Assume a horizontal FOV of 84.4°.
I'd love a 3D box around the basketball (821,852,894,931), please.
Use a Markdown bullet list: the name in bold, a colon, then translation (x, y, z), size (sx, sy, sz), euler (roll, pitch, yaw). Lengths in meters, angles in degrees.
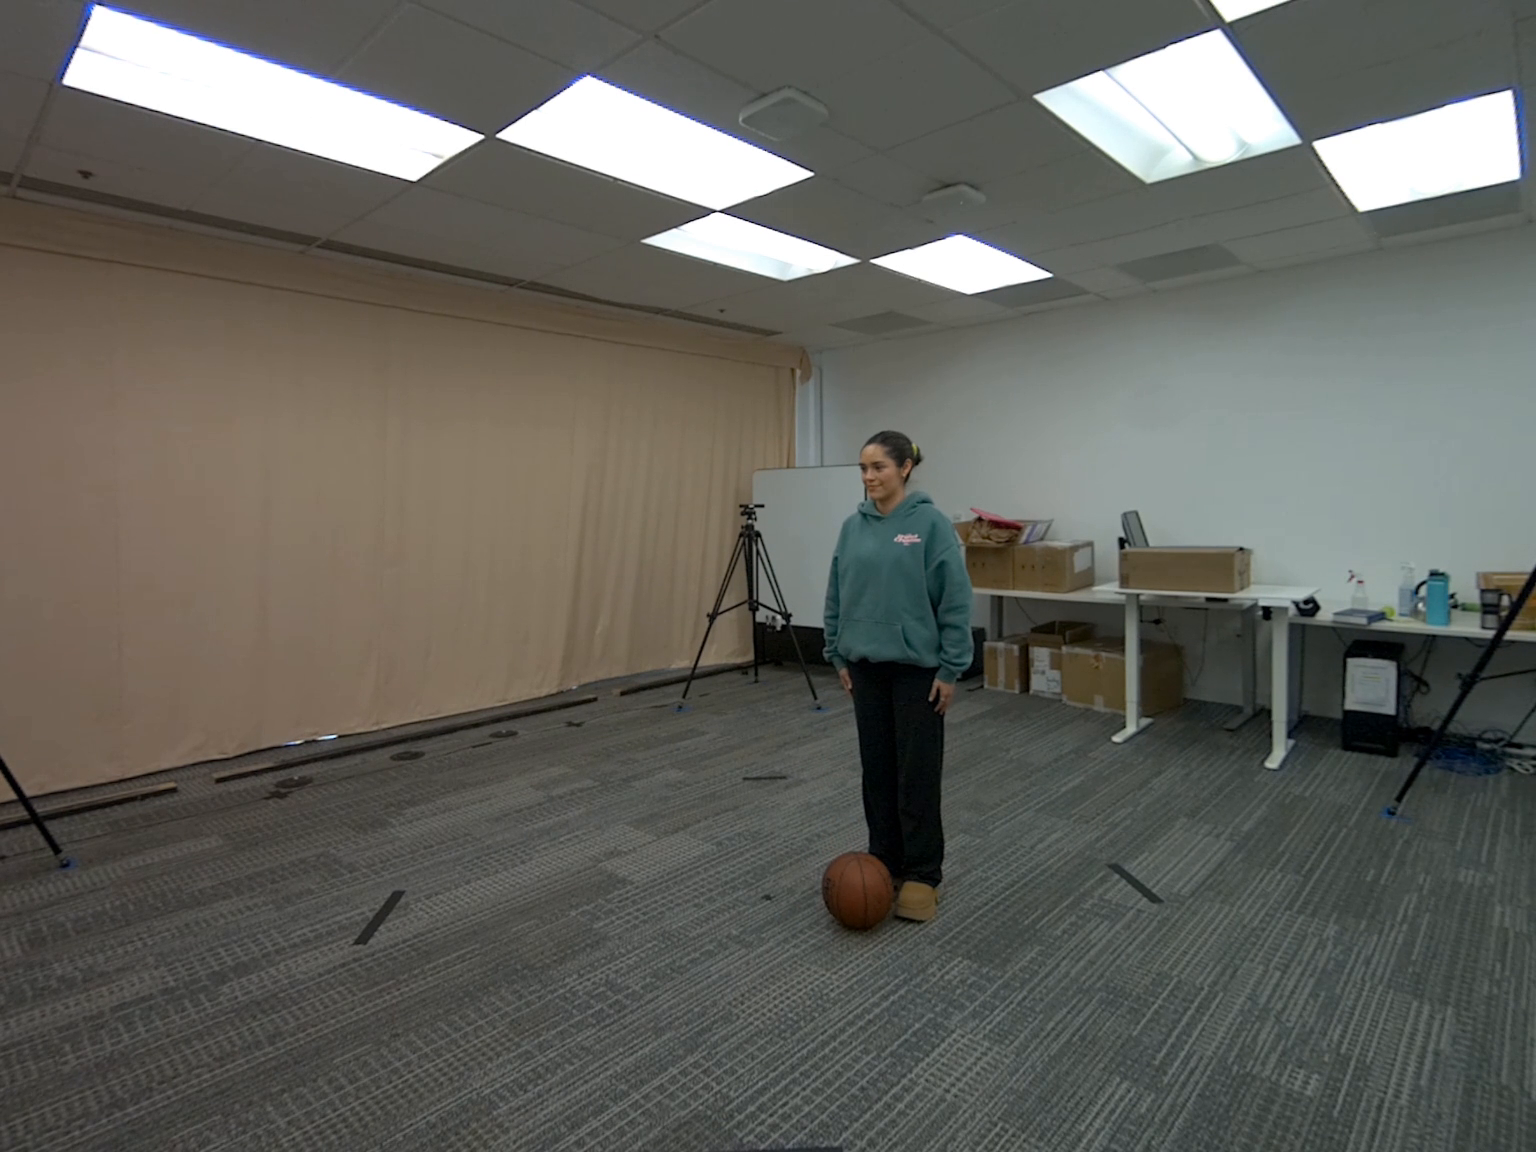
- **basketball**: translation (0.302, 1.035, 2.778), size (0.236, 0.235, 0.237), euler (-1, 4, -2)
